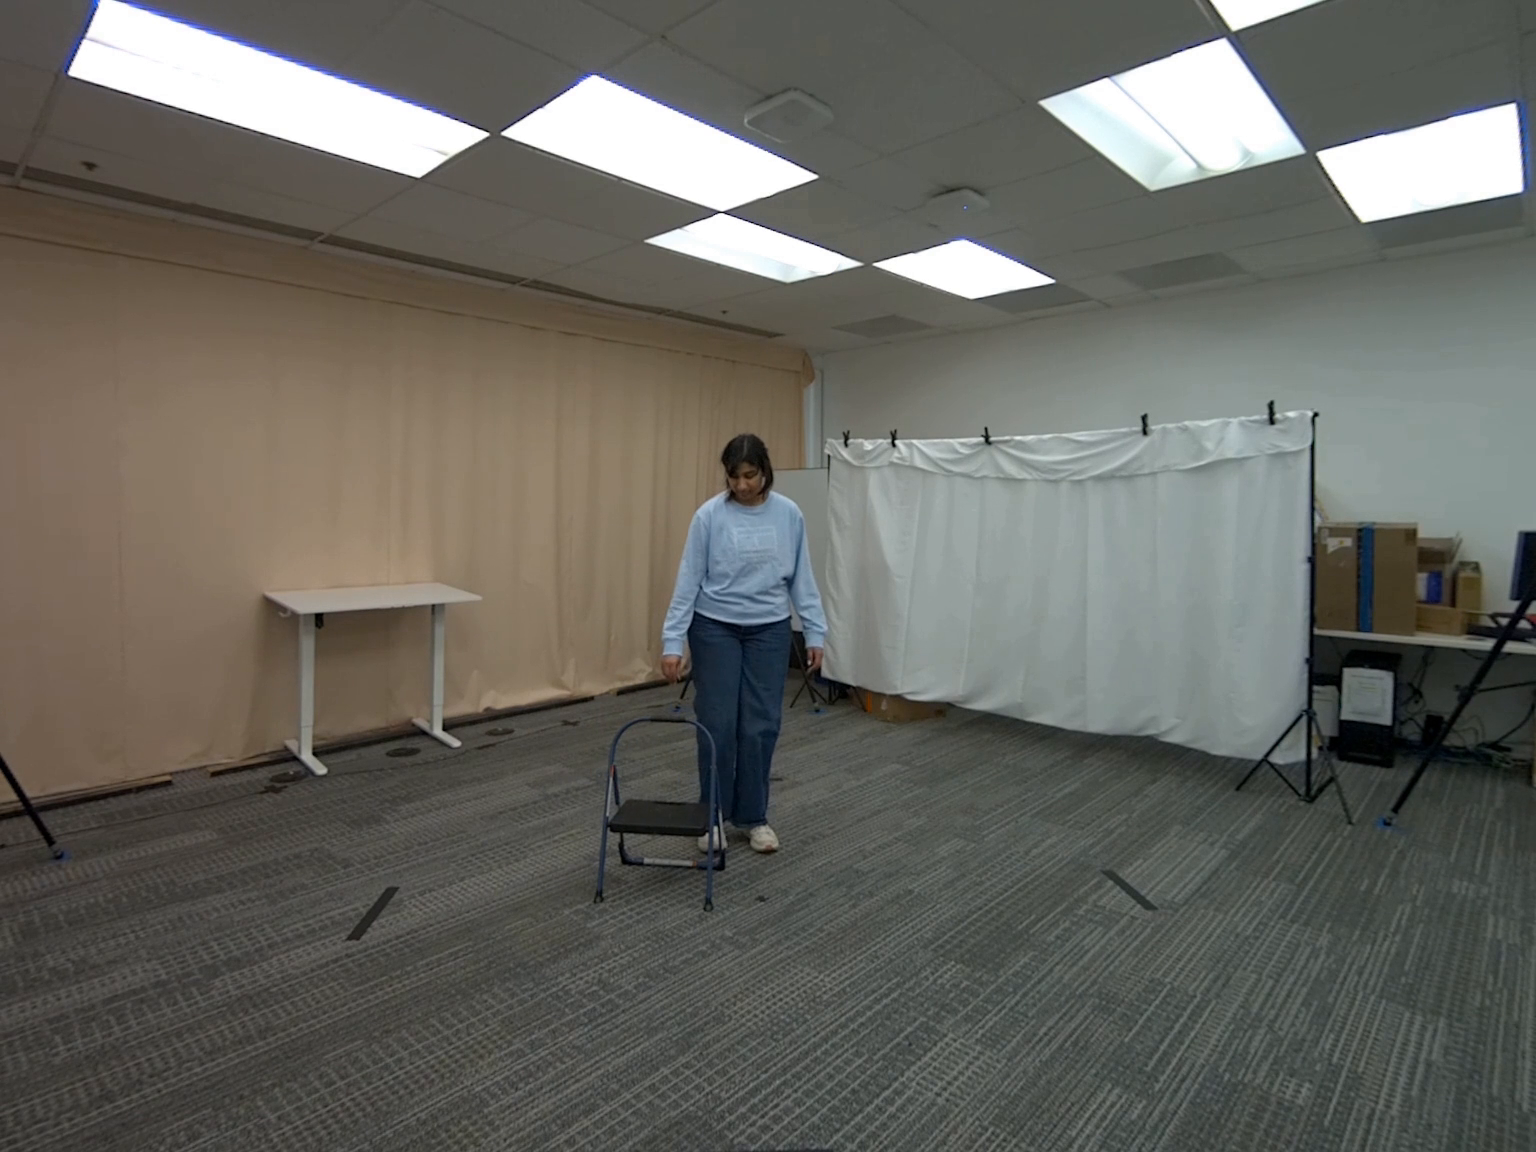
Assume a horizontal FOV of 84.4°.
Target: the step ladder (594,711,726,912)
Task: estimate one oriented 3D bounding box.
[{"bbox_3d":[-0.392,0.834,3.088,0.435,0.605,0.346,0,3,9],"label":"step ladder"}]
